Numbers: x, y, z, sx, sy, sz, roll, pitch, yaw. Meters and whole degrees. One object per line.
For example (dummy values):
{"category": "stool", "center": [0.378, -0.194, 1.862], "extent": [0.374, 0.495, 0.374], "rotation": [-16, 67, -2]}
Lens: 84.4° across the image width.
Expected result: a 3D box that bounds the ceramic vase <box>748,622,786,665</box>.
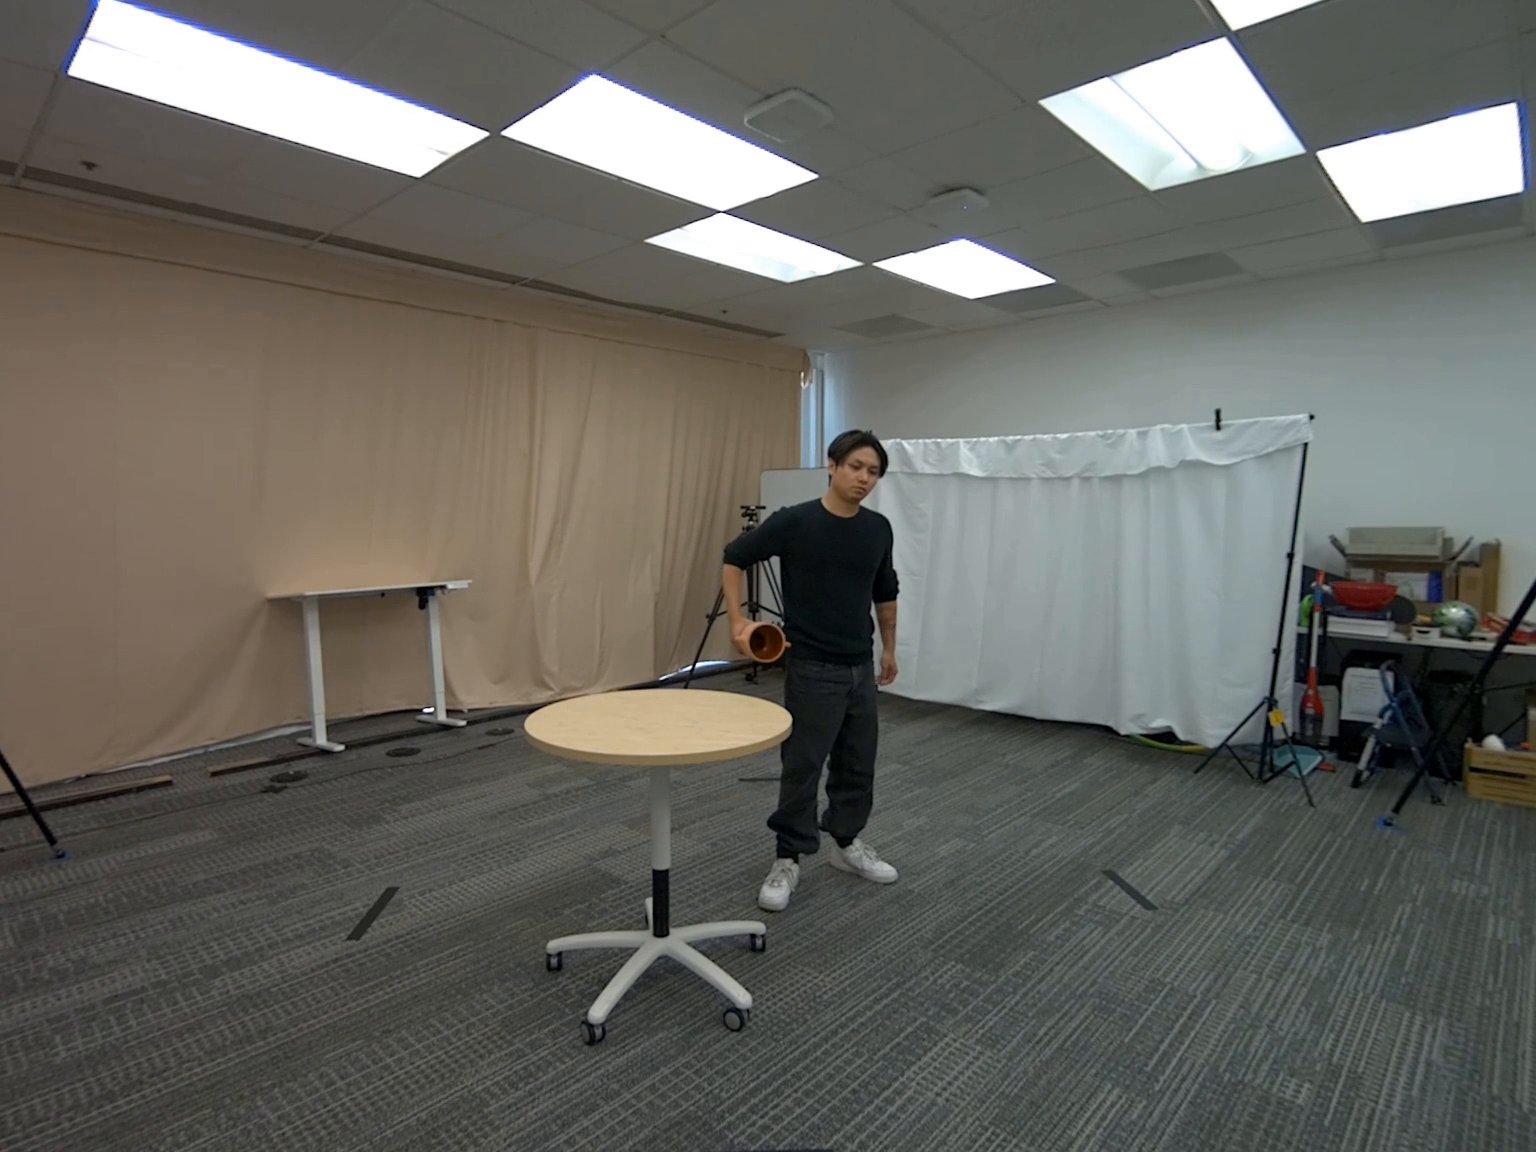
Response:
{"category": "ceramic vase", "center": [-0.037, 0.223, 2.902], "extent": [0.134, 0.158, 0.222], "rotation": [-44, 7, -11]}
